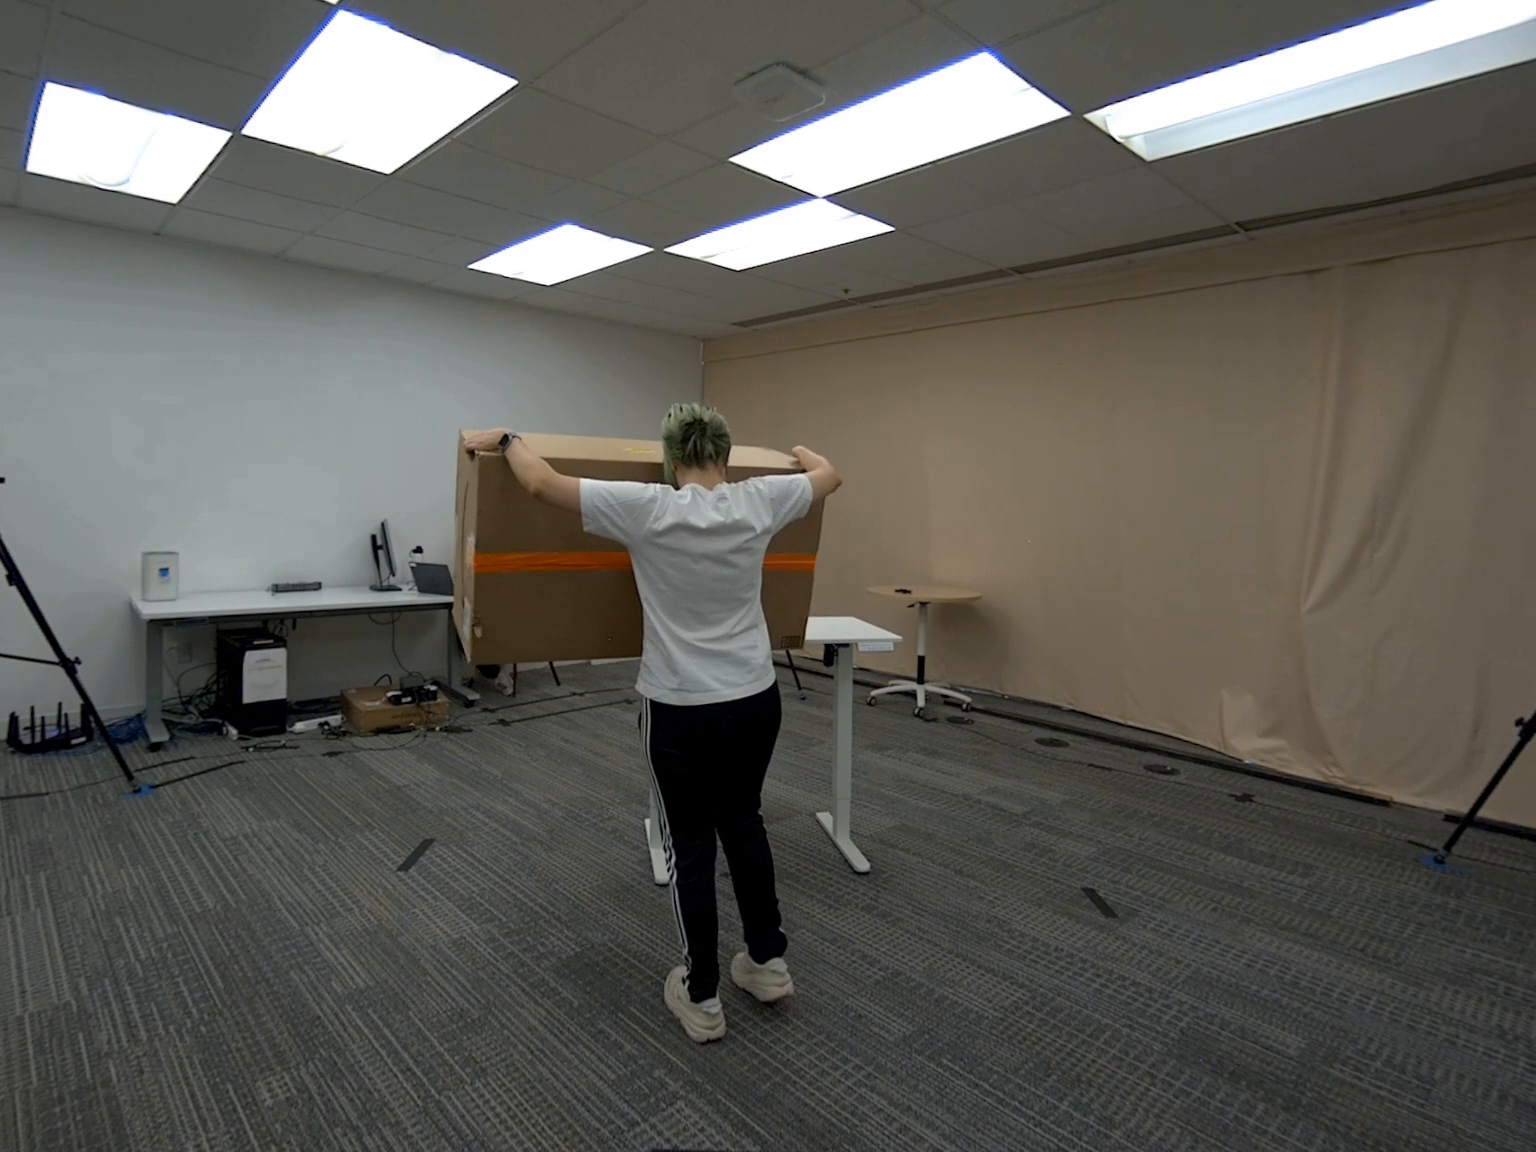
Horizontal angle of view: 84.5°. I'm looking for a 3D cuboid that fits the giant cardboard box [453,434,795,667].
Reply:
[{"bbox_3d":[-0.397,-0.096,2.559,1.008,0.578,0.459,-1,16,-26],"label":"giant cardboard box"}]
